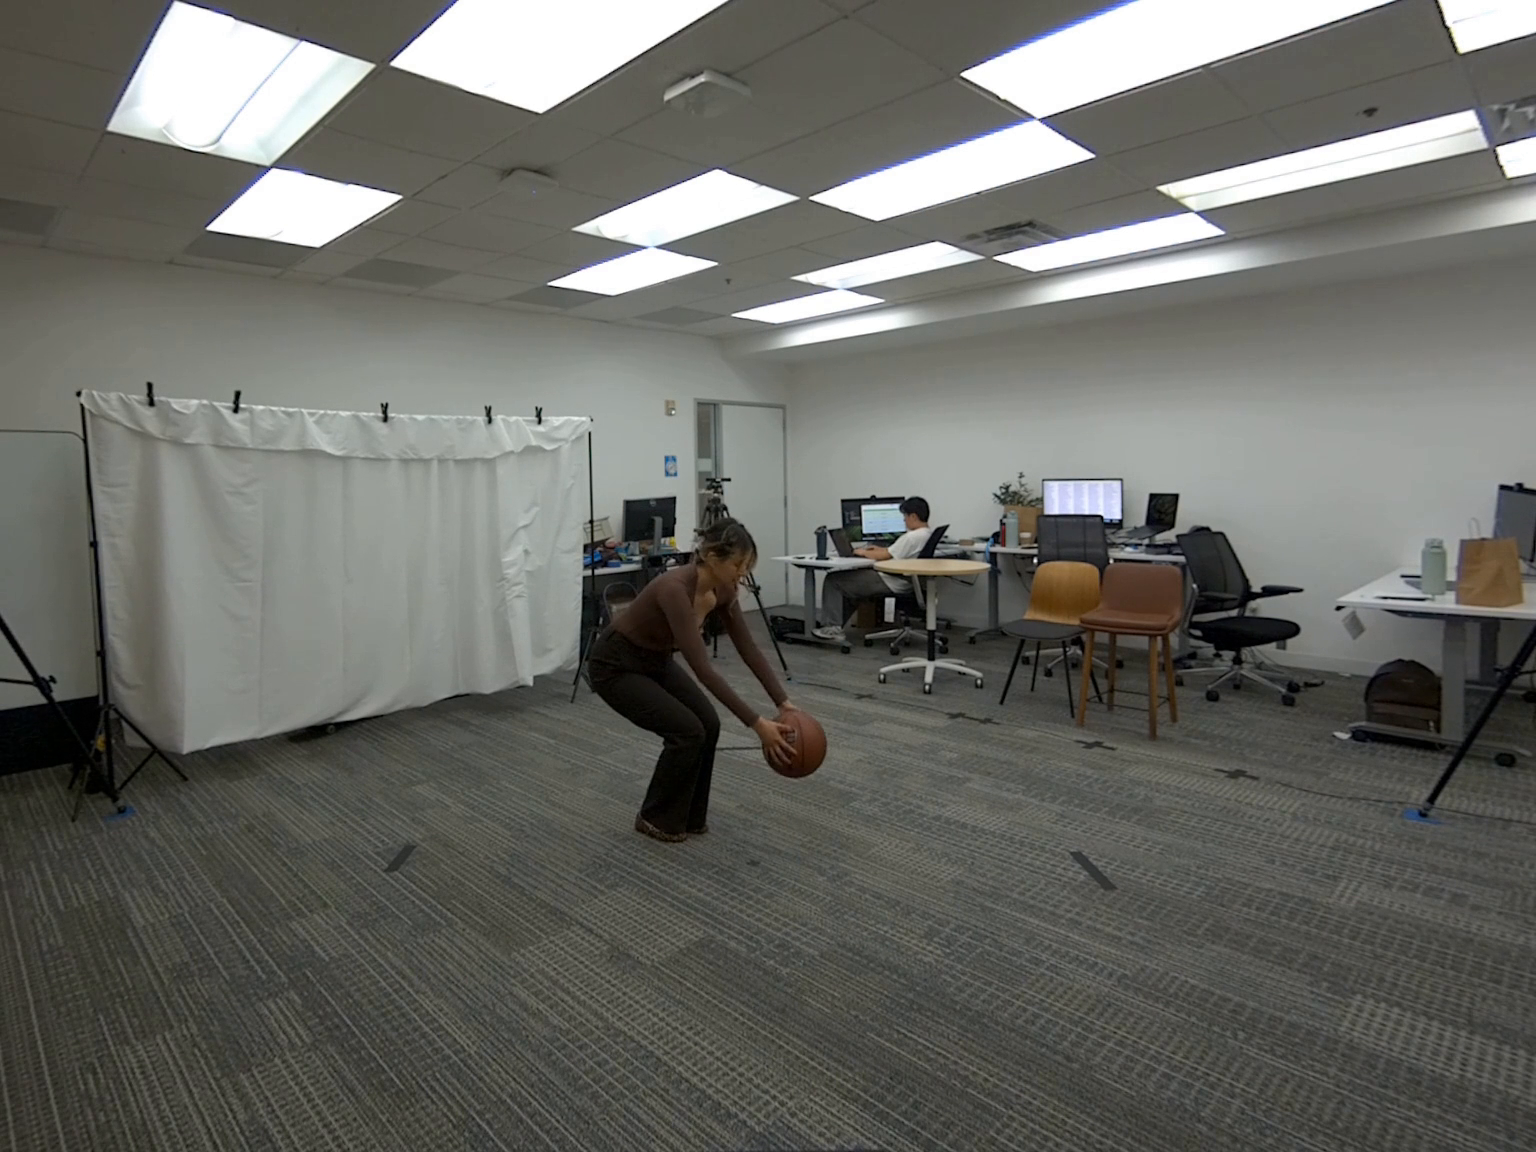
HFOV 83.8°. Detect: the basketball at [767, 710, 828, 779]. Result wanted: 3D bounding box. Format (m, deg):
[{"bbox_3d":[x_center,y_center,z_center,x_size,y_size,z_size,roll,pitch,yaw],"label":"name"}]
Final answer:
[{"bbox_3d":[0.099,0.604,3.120,0.236,0.235,0.237,-1,5,-2],"label":"basketball"}]
